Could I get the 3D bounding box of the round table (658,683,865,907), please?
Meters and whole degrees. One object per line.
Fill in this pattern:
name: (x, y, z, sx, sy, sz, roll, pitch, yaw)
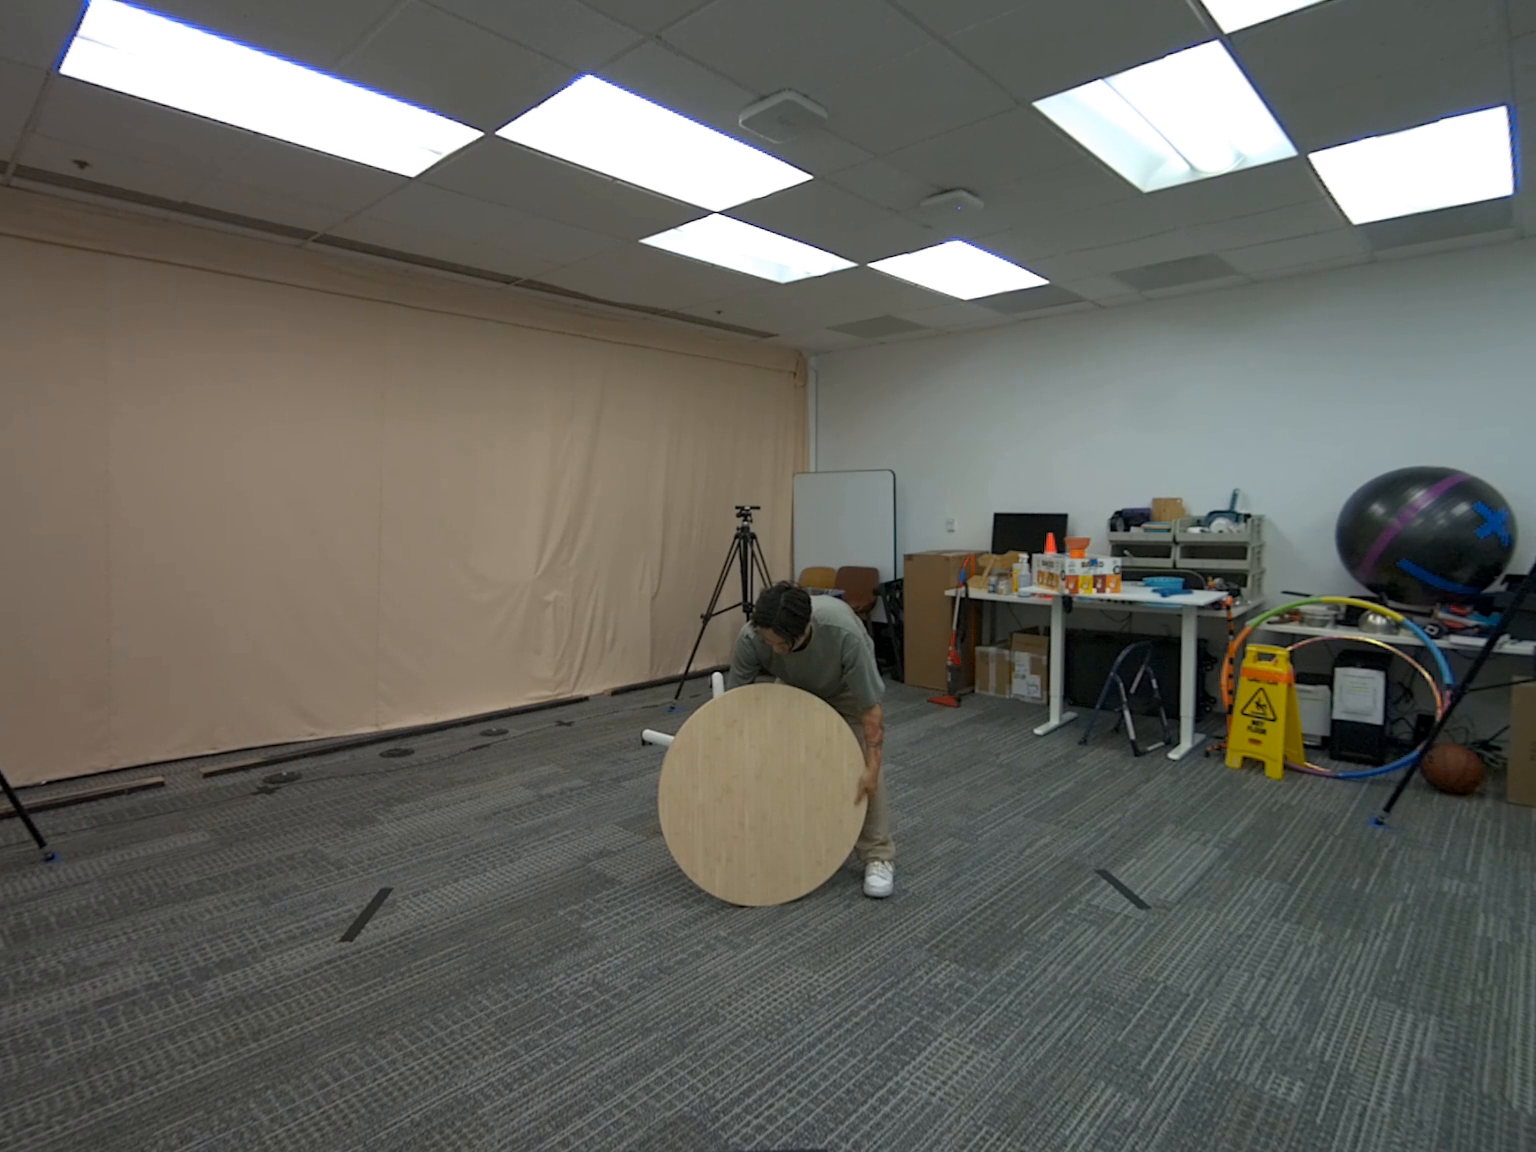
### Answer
round table: (-0.116, 0.777, 3.340, 0.774, 0.786, 0.796, -1, -2, -14)
